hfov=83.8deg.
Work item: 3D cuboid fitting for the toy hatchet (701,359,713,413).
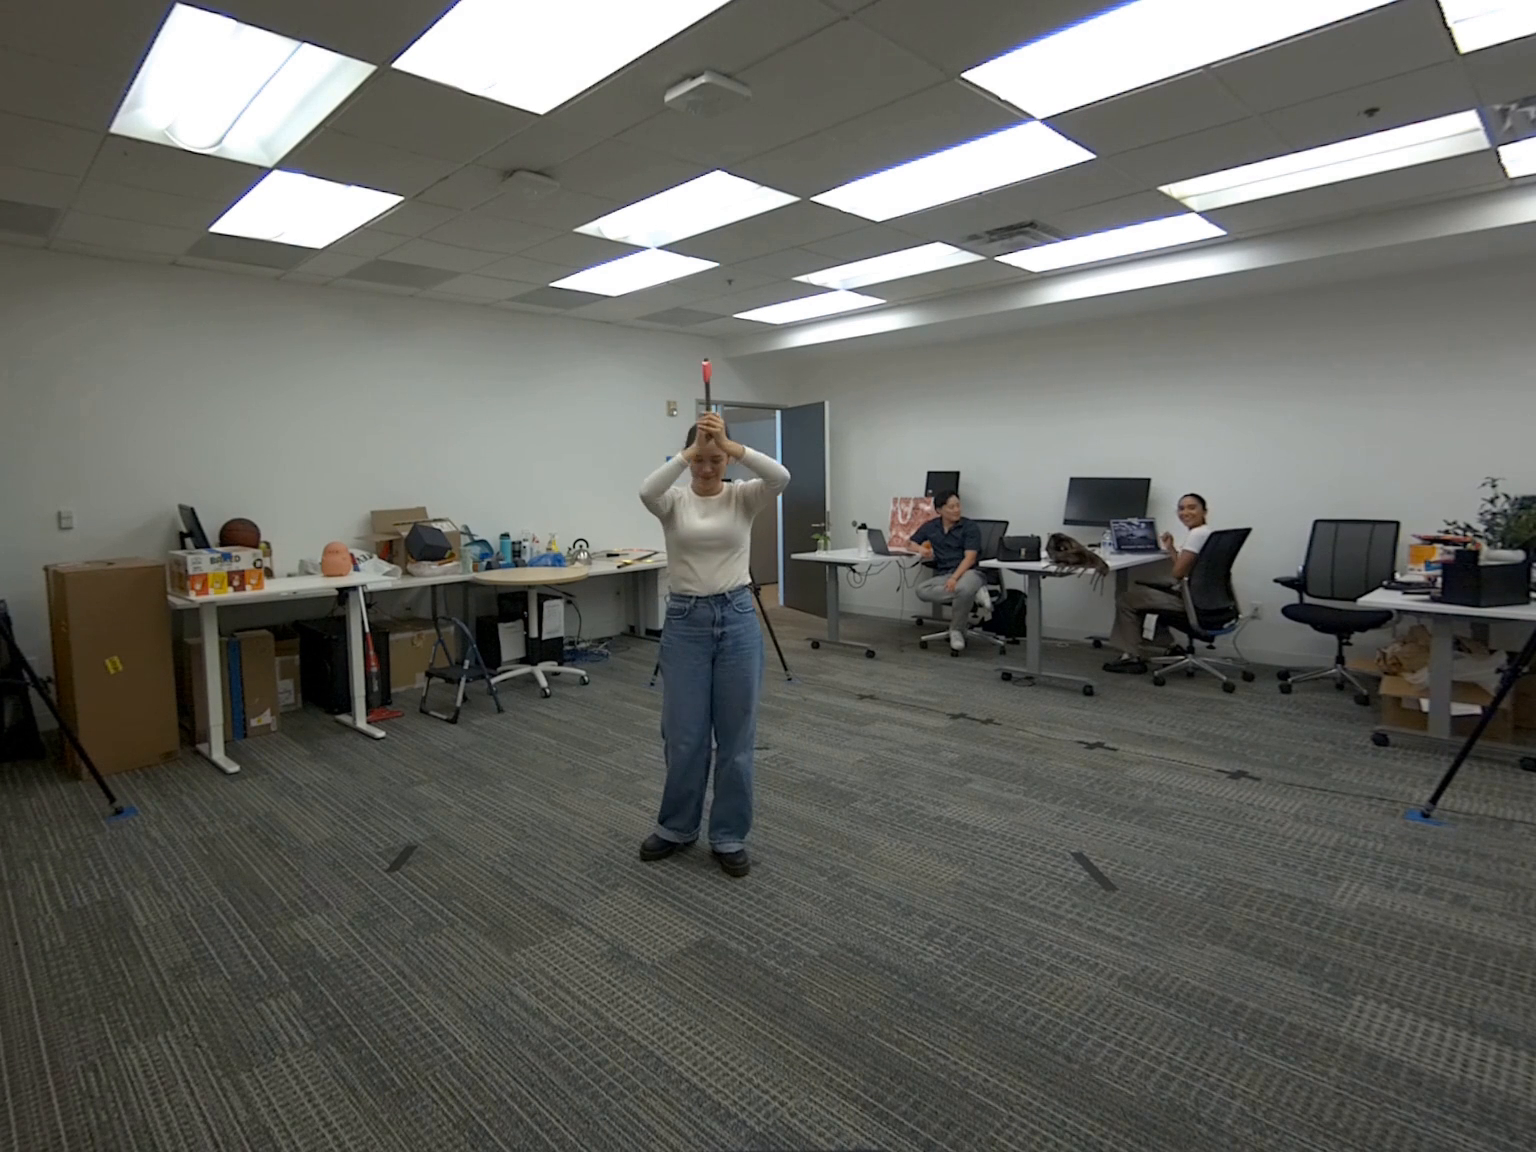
[{"bbox_3d":[-0.198,-0.590,2.837,0.029,0.272,0.130,-2,-8,0],"label":"toy hatchet"}]
